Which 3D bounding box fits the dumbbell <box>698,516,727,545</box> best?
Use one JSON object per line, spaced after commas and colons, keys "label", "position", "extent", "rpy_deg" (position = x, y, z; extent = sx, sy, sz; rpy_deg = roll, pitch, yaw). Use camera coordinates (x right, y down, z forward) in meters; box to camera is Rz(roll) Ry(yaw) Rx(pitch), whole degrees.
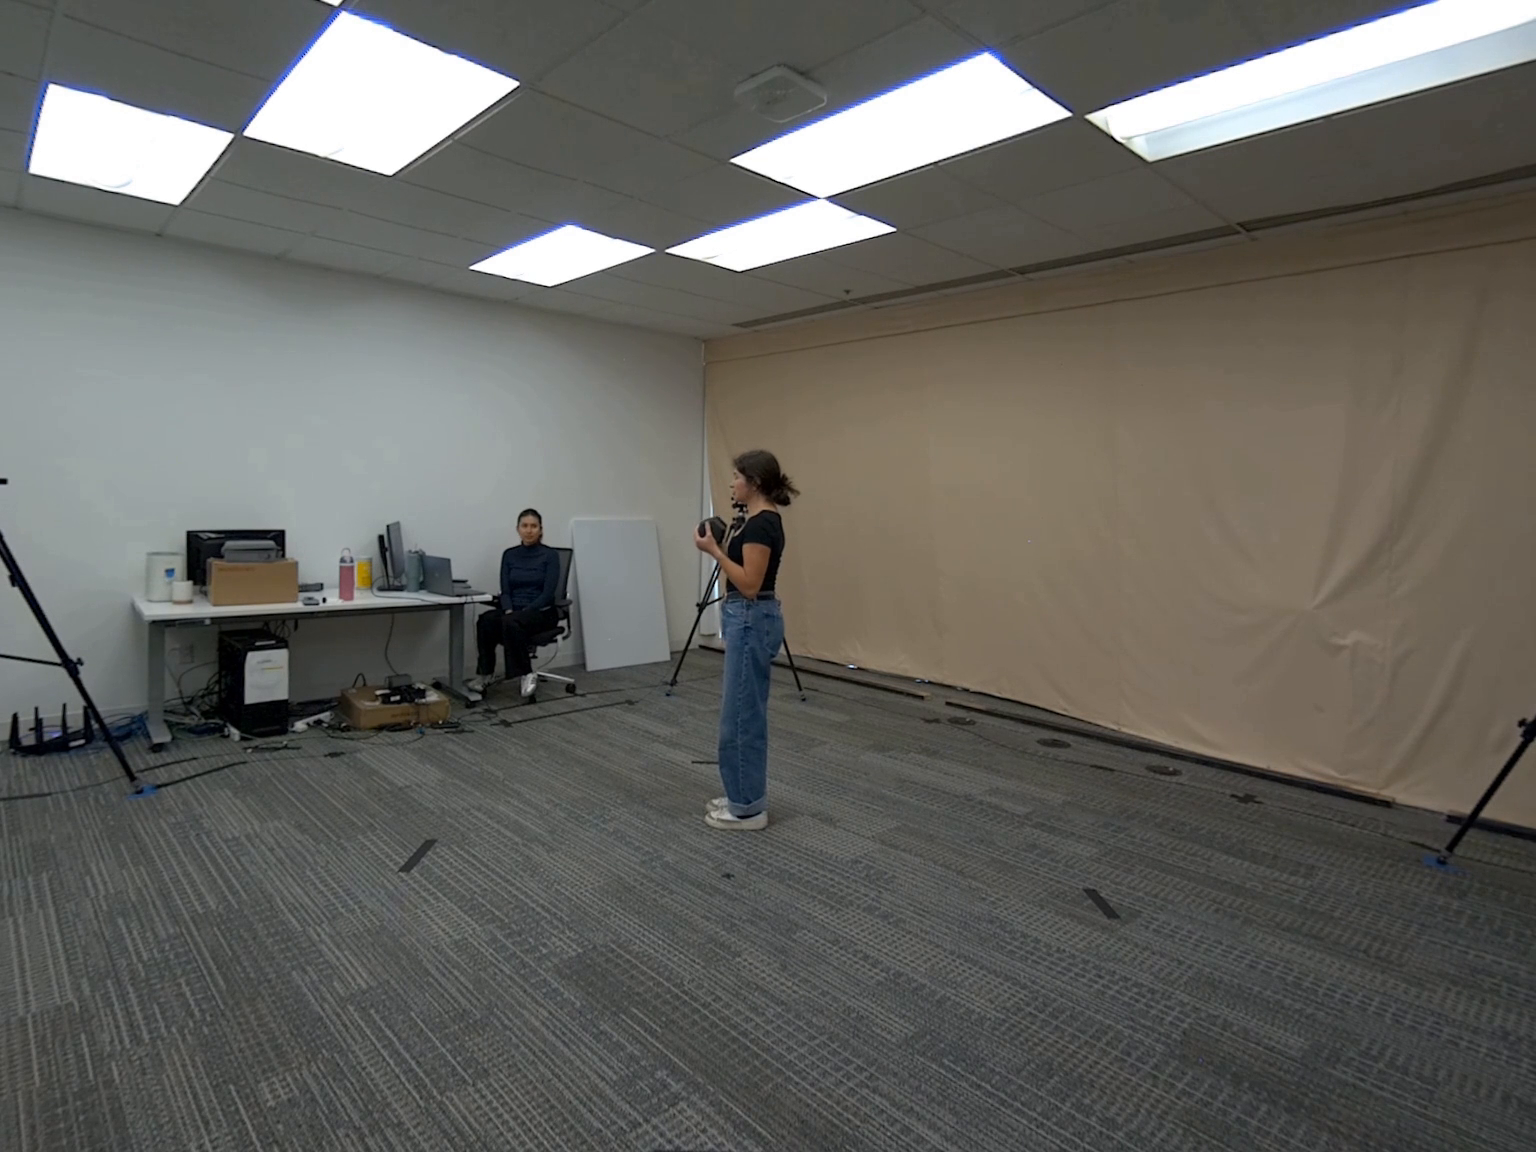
{"label": "dumbbell", "position": [-0.253, -0.186, 3.647], "extent": [0.108, 0.123, 0.294], "rpy_deg": [17, 3, -3]}
